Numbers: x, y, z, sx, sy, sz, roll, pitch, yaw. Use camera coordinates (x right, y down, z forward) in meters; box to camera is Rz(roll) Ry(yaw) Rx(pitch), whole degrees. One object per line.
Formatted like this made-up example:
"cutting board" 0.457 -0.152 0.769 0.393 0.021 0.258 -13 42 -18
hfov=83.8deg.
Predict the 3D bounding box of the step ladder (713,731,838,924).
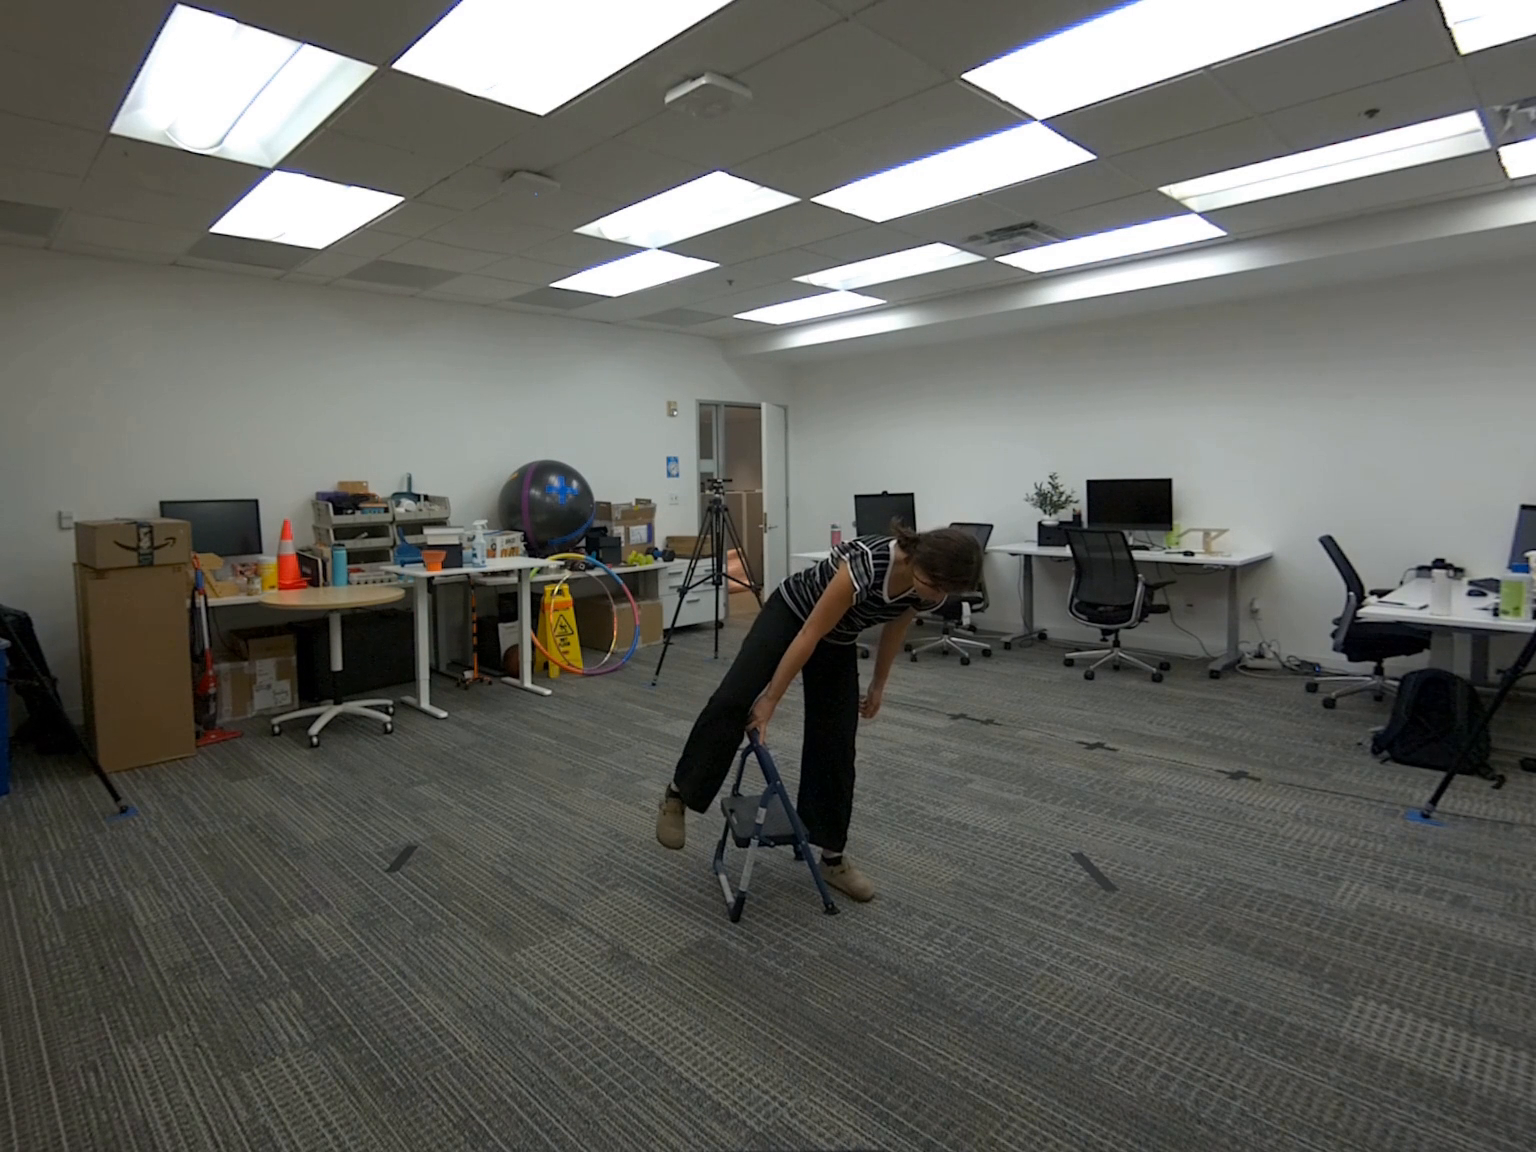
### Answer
"step ladder" 0.010 0.770 2.898 0.346 0.604 0.437 -1 4 -11
